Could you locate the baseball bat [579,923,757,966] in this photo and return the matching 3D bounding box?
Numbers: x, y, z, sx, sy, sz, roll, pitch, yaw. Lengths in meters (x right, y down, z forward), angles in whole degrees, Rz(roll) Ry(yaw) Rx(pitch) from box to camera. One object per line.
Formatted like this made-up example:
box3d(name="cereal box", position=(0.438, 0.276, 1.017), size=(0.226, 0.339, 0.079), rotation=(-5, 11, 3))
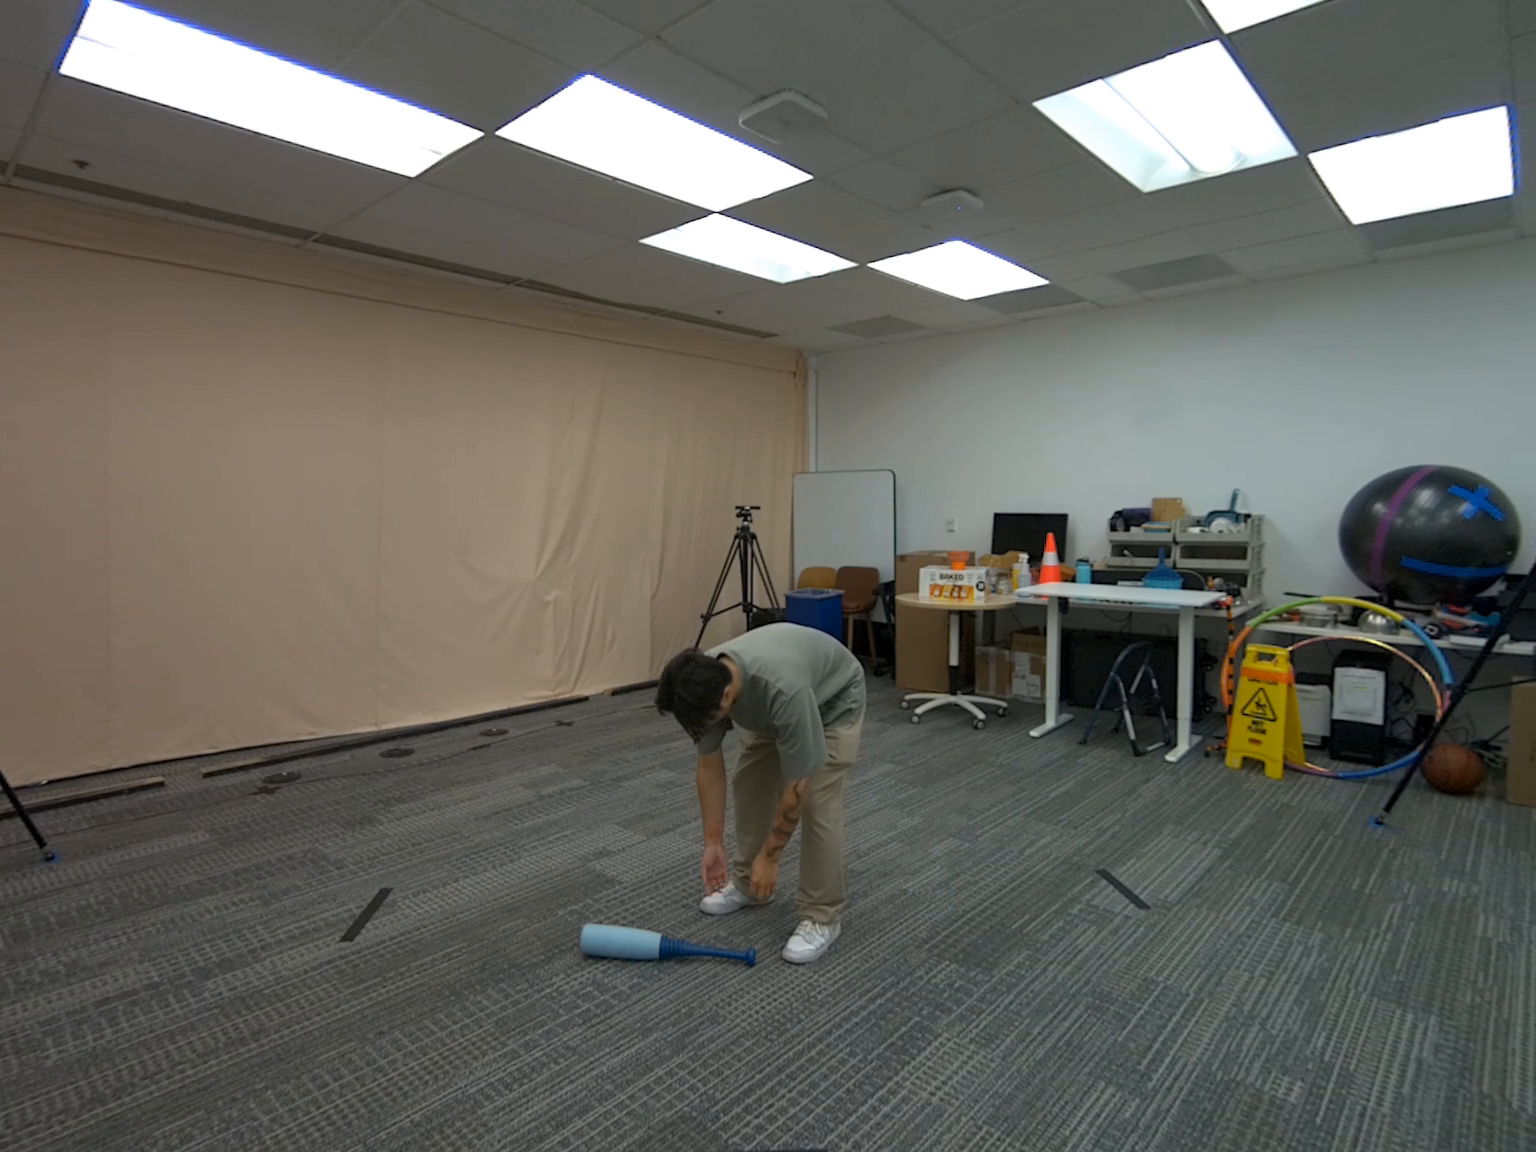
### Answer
box3d(name="baseball bat", position=(-0.308, 1.146, 2.587), size=(0.547, 0.089, 0.088), rotation=(3, 4, 7))
